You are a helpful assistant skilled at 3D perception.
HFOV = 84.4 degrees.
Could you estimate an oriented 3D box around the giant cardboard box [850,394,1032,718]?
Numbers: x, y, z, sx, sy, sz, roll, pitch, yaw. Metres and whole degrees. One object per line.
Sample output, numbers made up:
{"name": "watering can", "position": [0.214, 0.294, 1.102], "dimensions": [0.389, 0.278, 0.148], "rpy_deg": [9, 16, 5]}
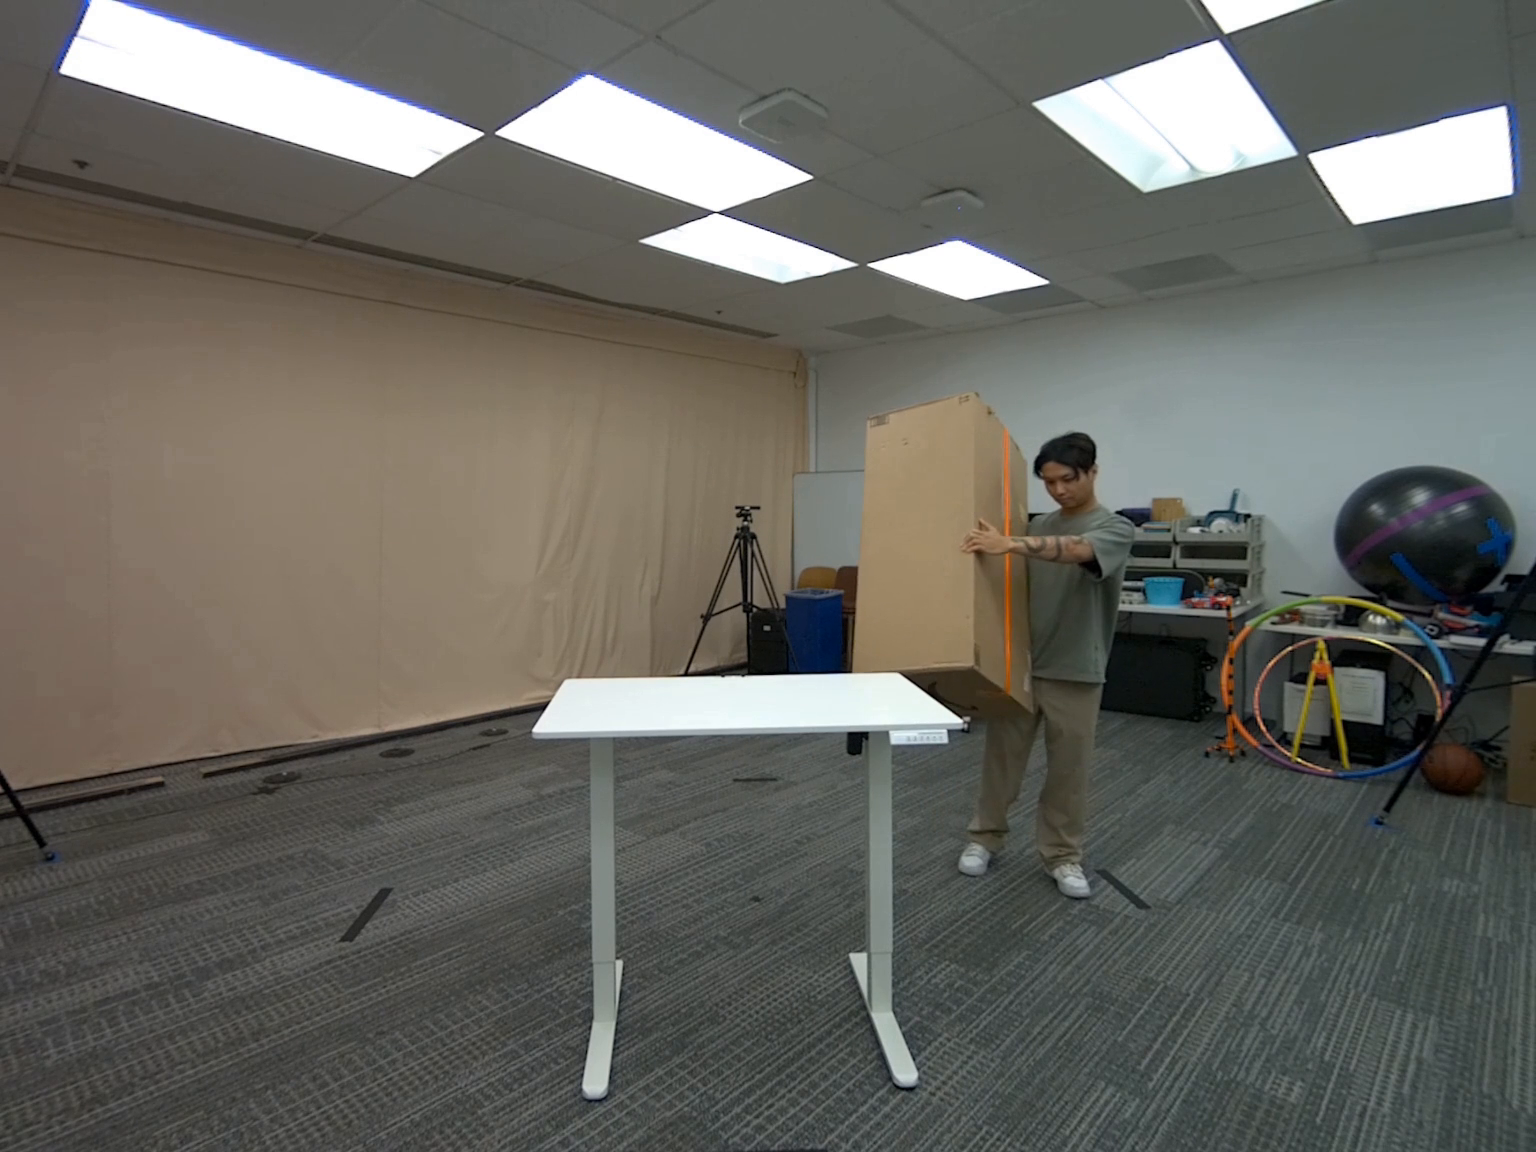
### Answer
{"name": "giant cardboard box", "position": [0.662, -0.050, 3.082], "dimensions": [0.437, 1.037, 0.556], "rpy_deg": [-10, -28, 33]}
